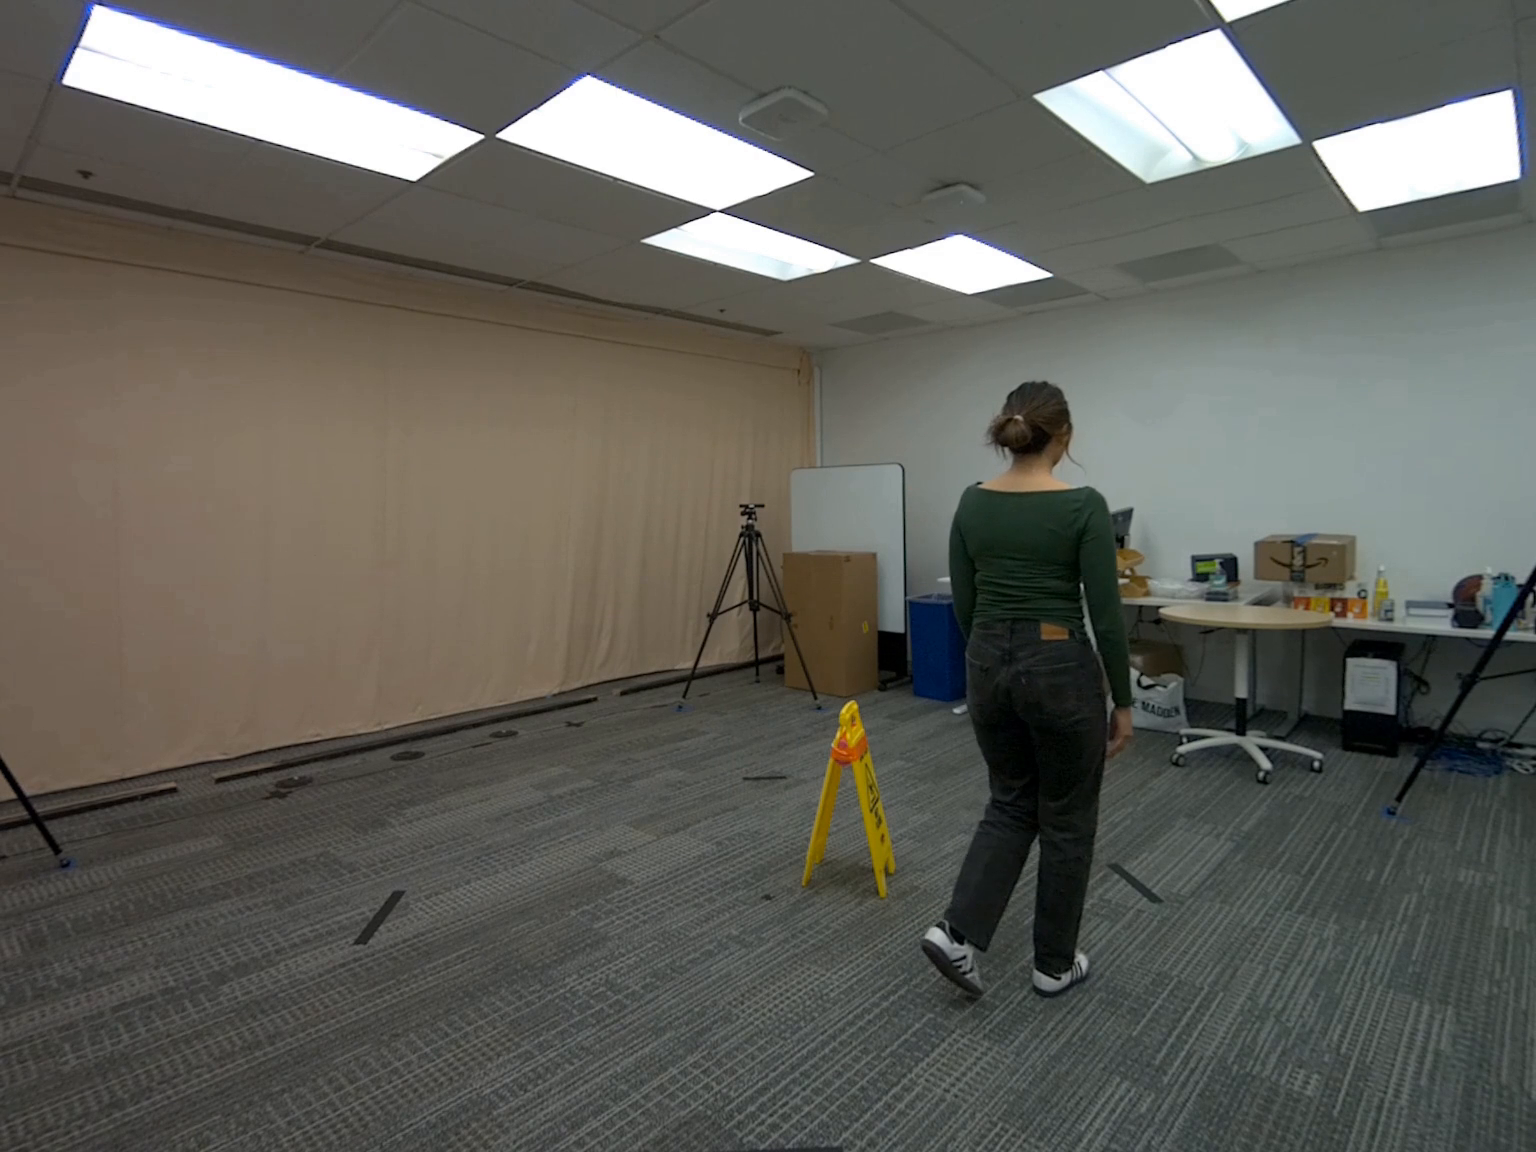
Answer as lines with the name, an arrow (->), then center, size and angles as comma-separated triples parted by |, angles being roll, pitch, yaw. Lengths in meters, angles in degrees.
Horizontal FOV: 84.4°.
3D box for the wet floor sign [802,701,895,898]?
wet floor sign -> 0.301, 0.798, 3.114 | 0.296, 0.645, 0.277 | 0, 3, 19
